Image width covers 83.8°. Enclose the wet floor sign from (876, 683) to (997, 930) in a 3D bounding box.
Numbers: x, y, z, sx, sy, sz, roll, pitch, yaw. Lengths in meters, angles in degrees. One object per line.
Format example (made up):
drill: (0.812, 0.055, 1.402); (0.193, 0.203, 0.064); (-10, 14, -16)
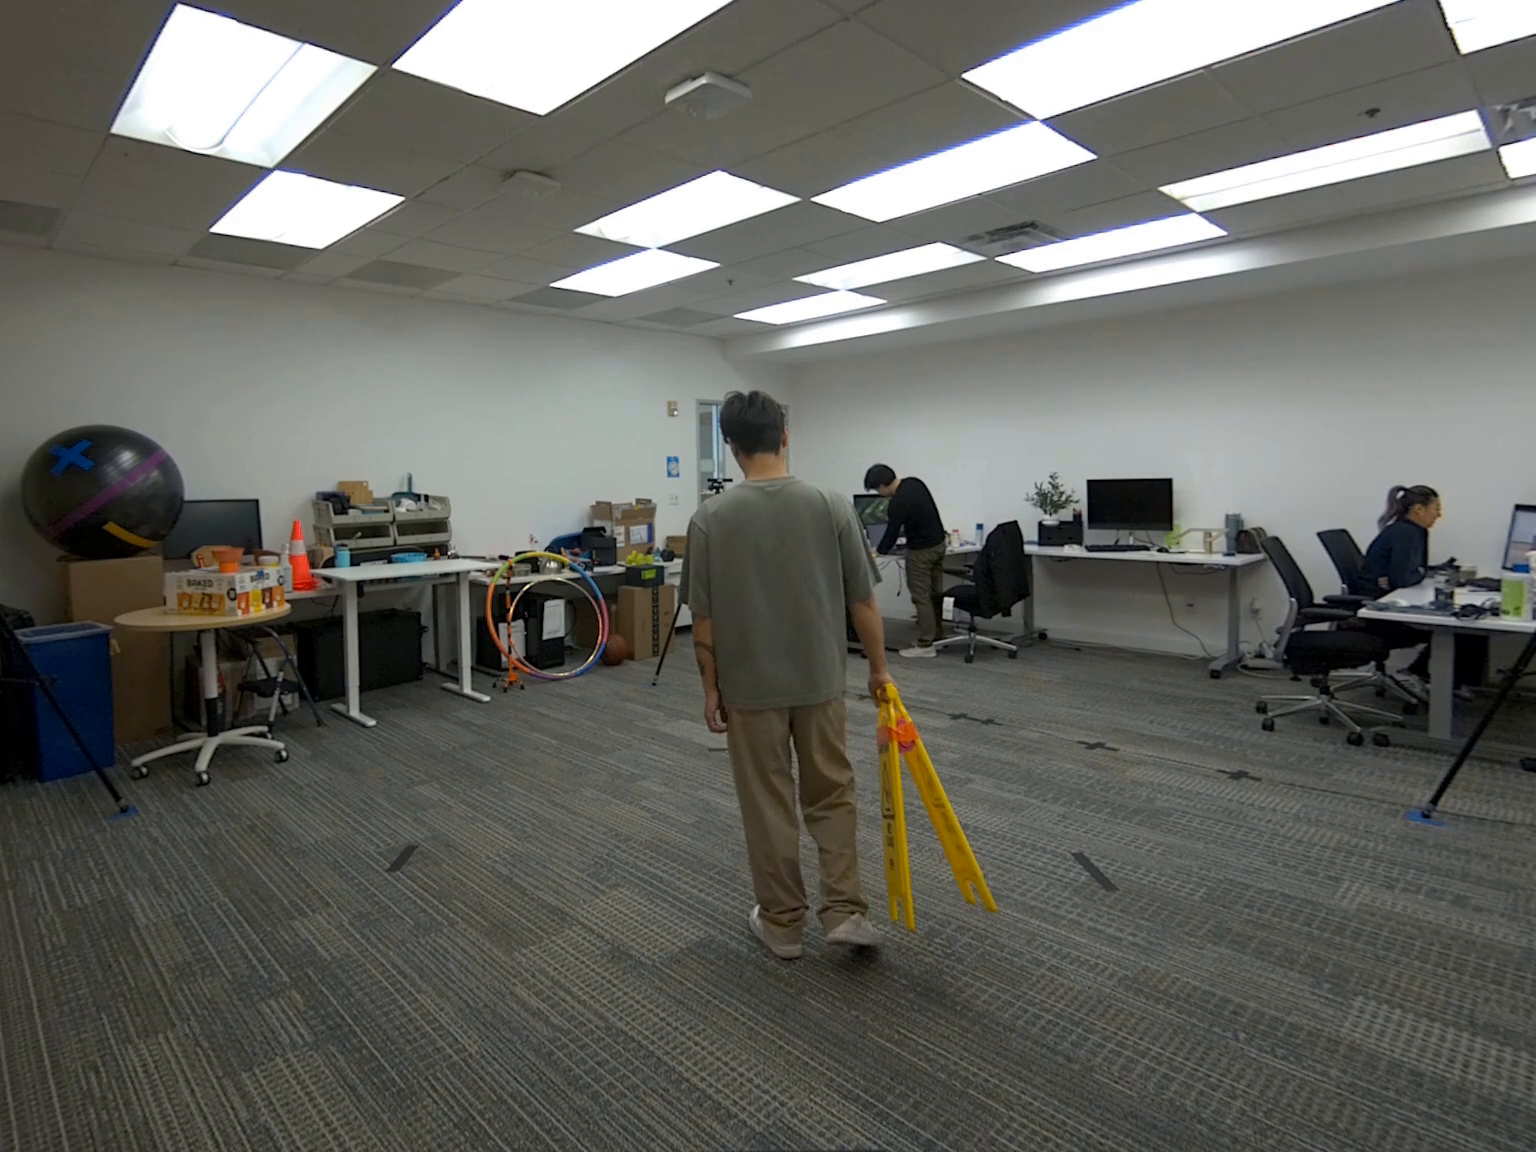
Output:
wet floor sign: (0.411, 0.655, 2.491); (0.289, 0.657, 0.278); (-10, -15, -2)
